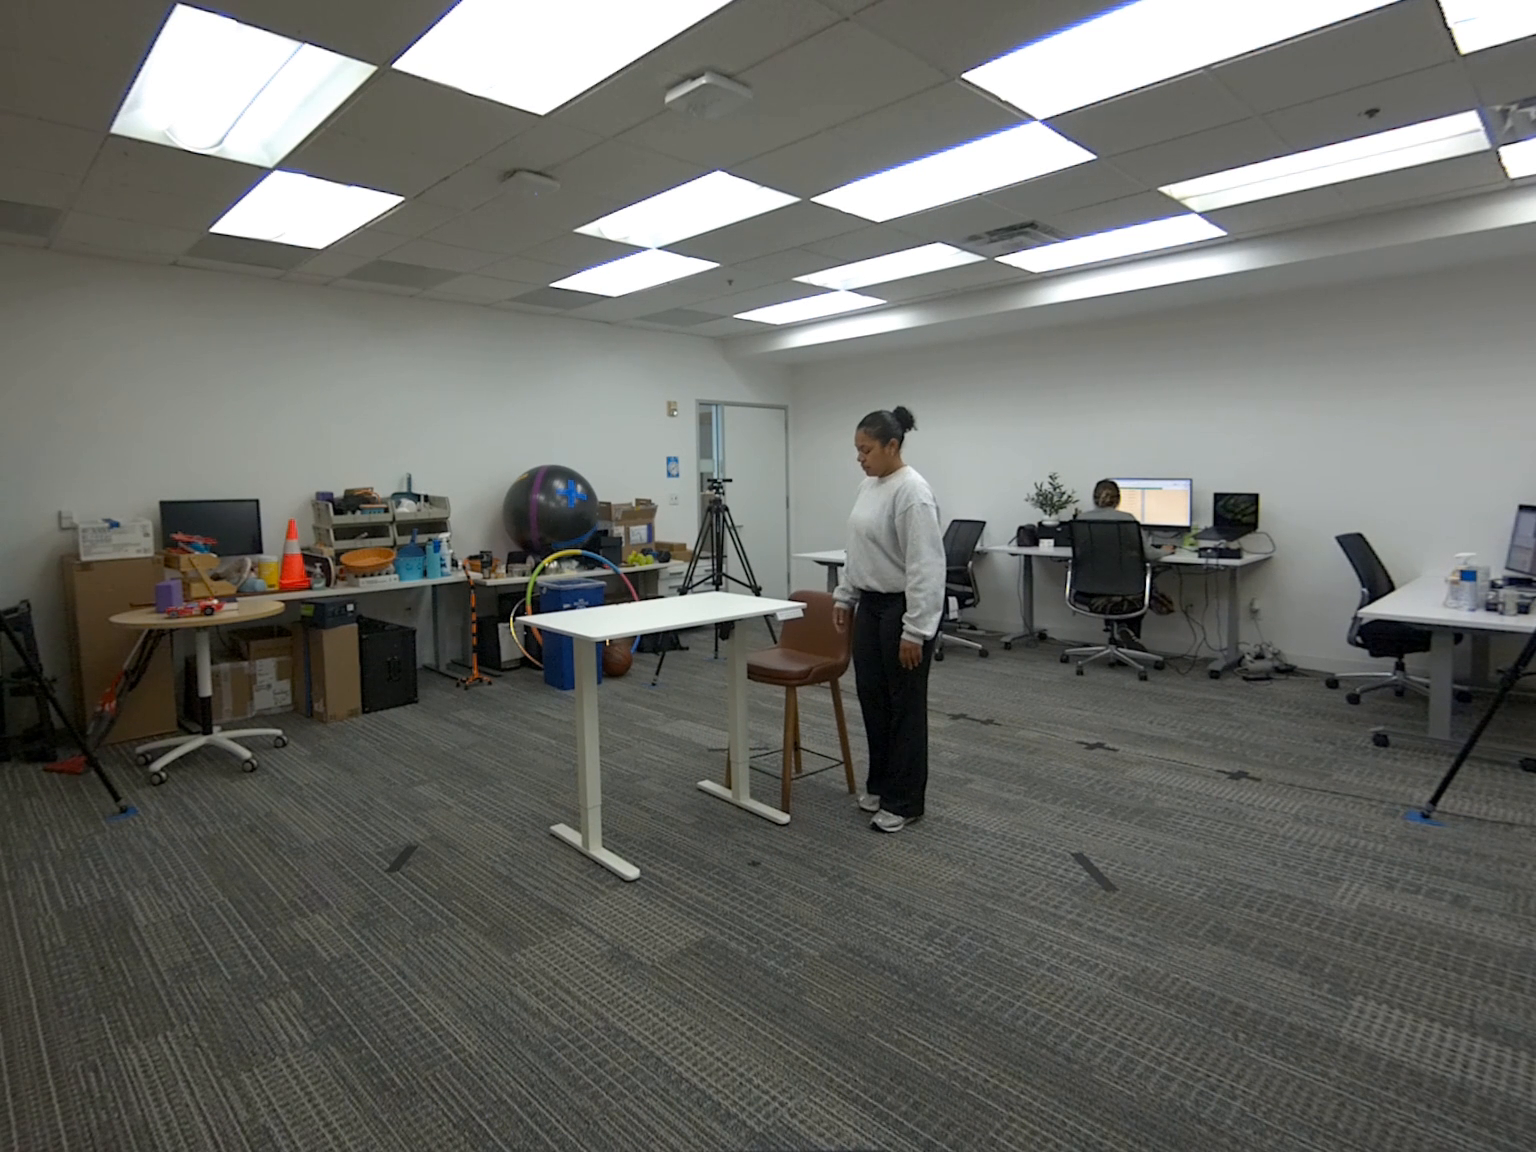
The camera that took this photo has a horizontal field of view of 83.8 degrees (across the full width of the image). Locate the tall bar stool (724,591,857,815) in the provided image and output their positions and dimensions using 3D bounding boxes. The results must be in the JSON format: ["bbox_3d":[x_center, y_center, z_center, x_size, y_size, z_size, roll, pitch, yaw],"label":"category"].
[{"bbox_3d":[0.104,0.530,3.776,0.454,0.888,0.470,-1,4,-40],"label":"tall bar stool"}]
